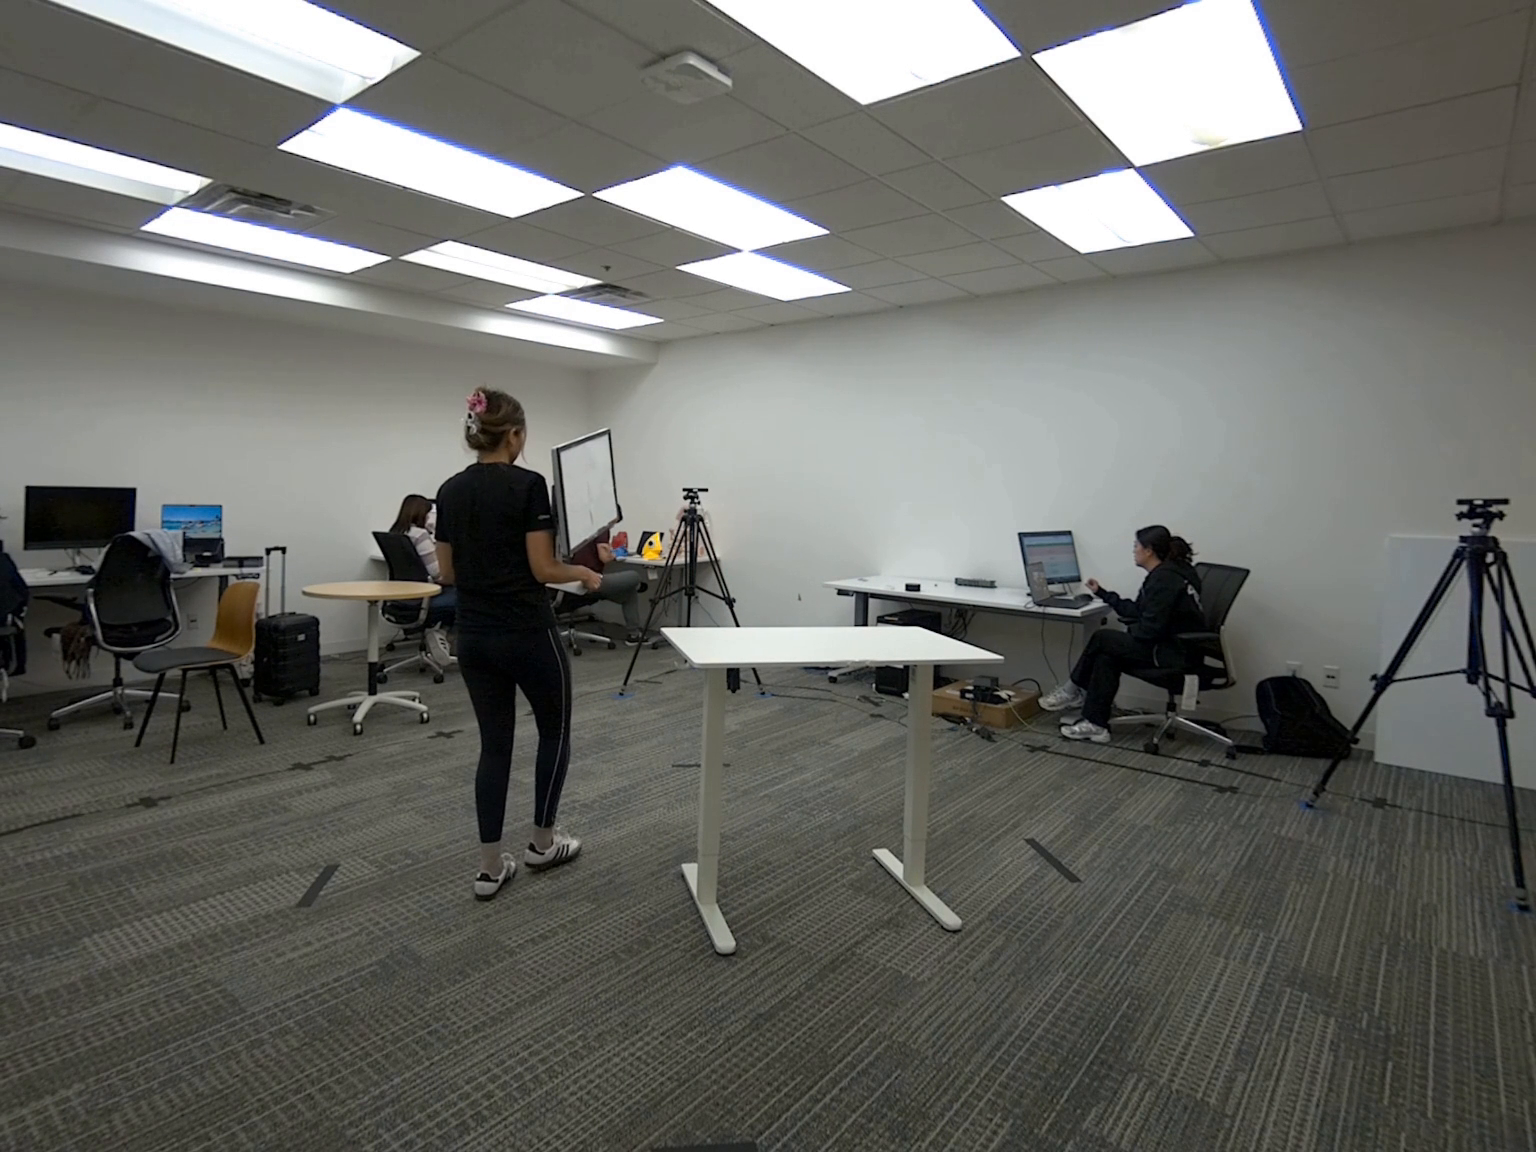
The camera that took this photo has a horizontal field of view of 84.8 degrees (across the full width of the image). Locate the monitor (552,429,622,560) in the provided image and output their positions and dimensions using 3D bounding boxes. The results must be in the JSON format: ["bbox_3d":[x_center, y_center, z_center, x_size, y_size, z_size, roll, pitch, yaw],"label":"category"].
[{"bbox_3d":[-0.701,-0.237,3.078,0.188,0.516,0.542,9,16,3],"label":"monitor"}]
